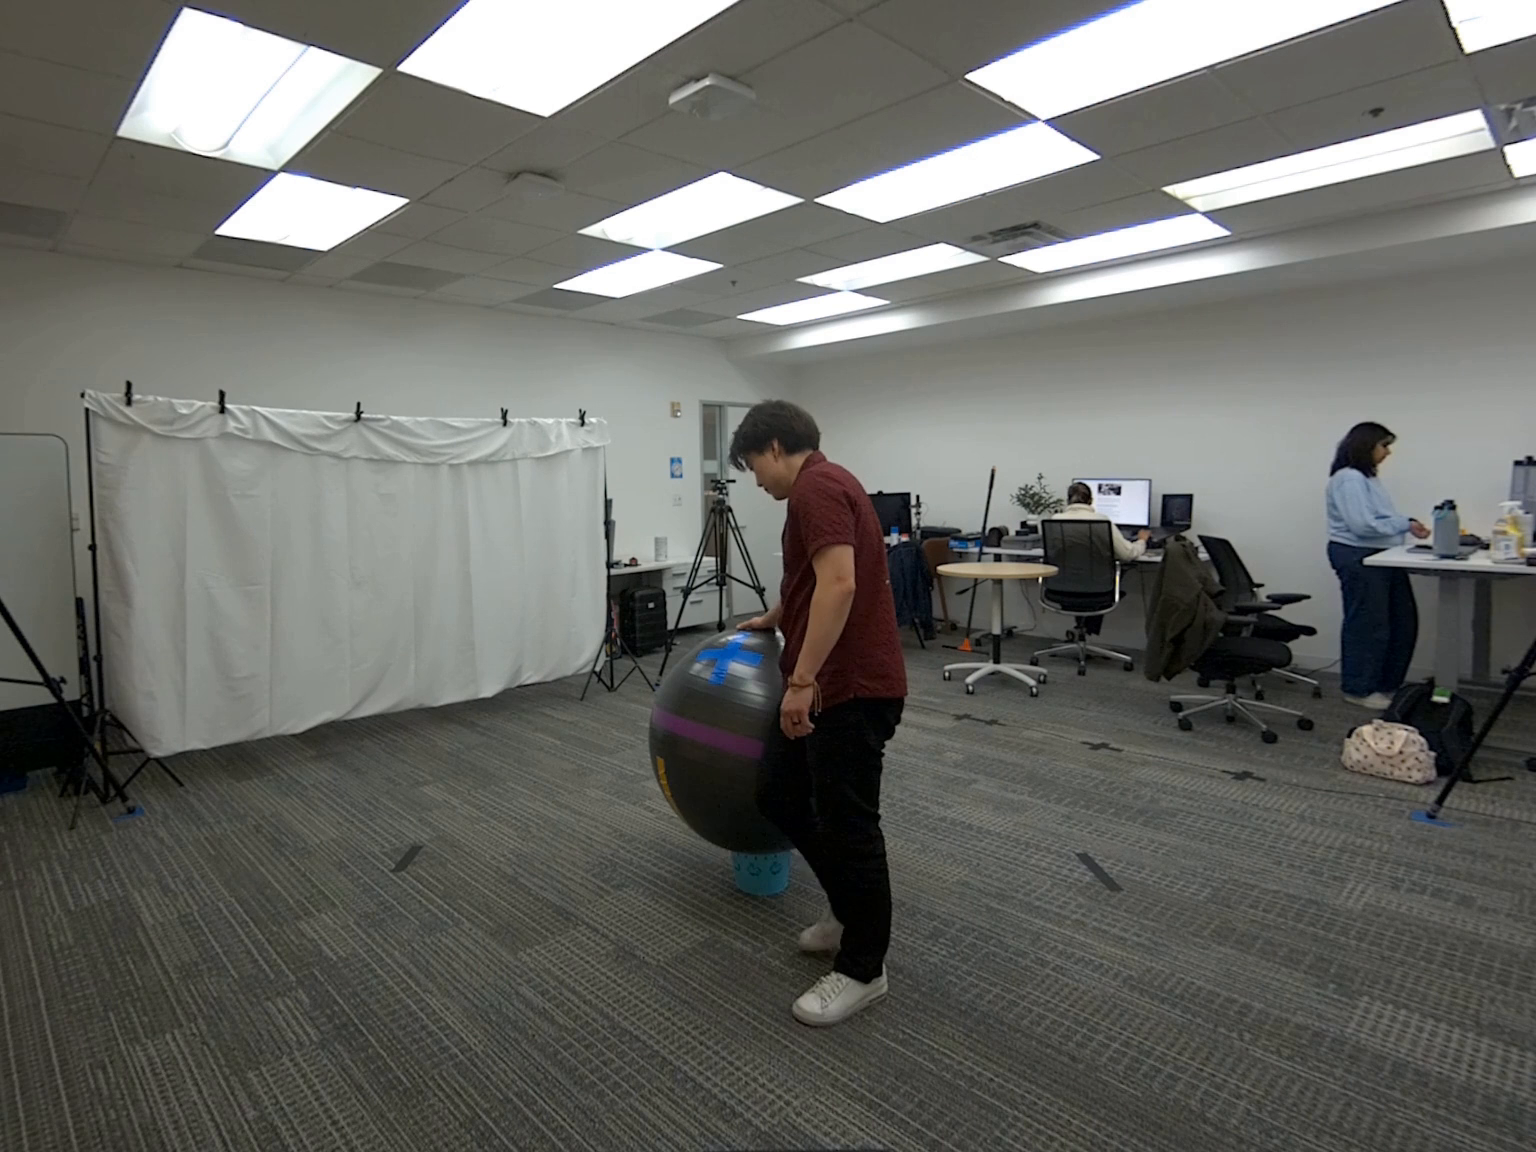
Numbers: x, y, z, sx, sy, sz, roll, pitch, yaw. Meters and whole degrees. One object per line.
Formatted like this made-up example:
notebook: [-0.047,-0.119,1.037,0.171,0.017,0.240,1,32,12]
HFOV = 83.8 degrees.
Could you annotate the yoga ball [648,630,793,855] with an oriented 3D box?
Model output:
yoga ball: [-0.031,0.552,2.947,0.757,0.755,0.762,-1,5,-2]
